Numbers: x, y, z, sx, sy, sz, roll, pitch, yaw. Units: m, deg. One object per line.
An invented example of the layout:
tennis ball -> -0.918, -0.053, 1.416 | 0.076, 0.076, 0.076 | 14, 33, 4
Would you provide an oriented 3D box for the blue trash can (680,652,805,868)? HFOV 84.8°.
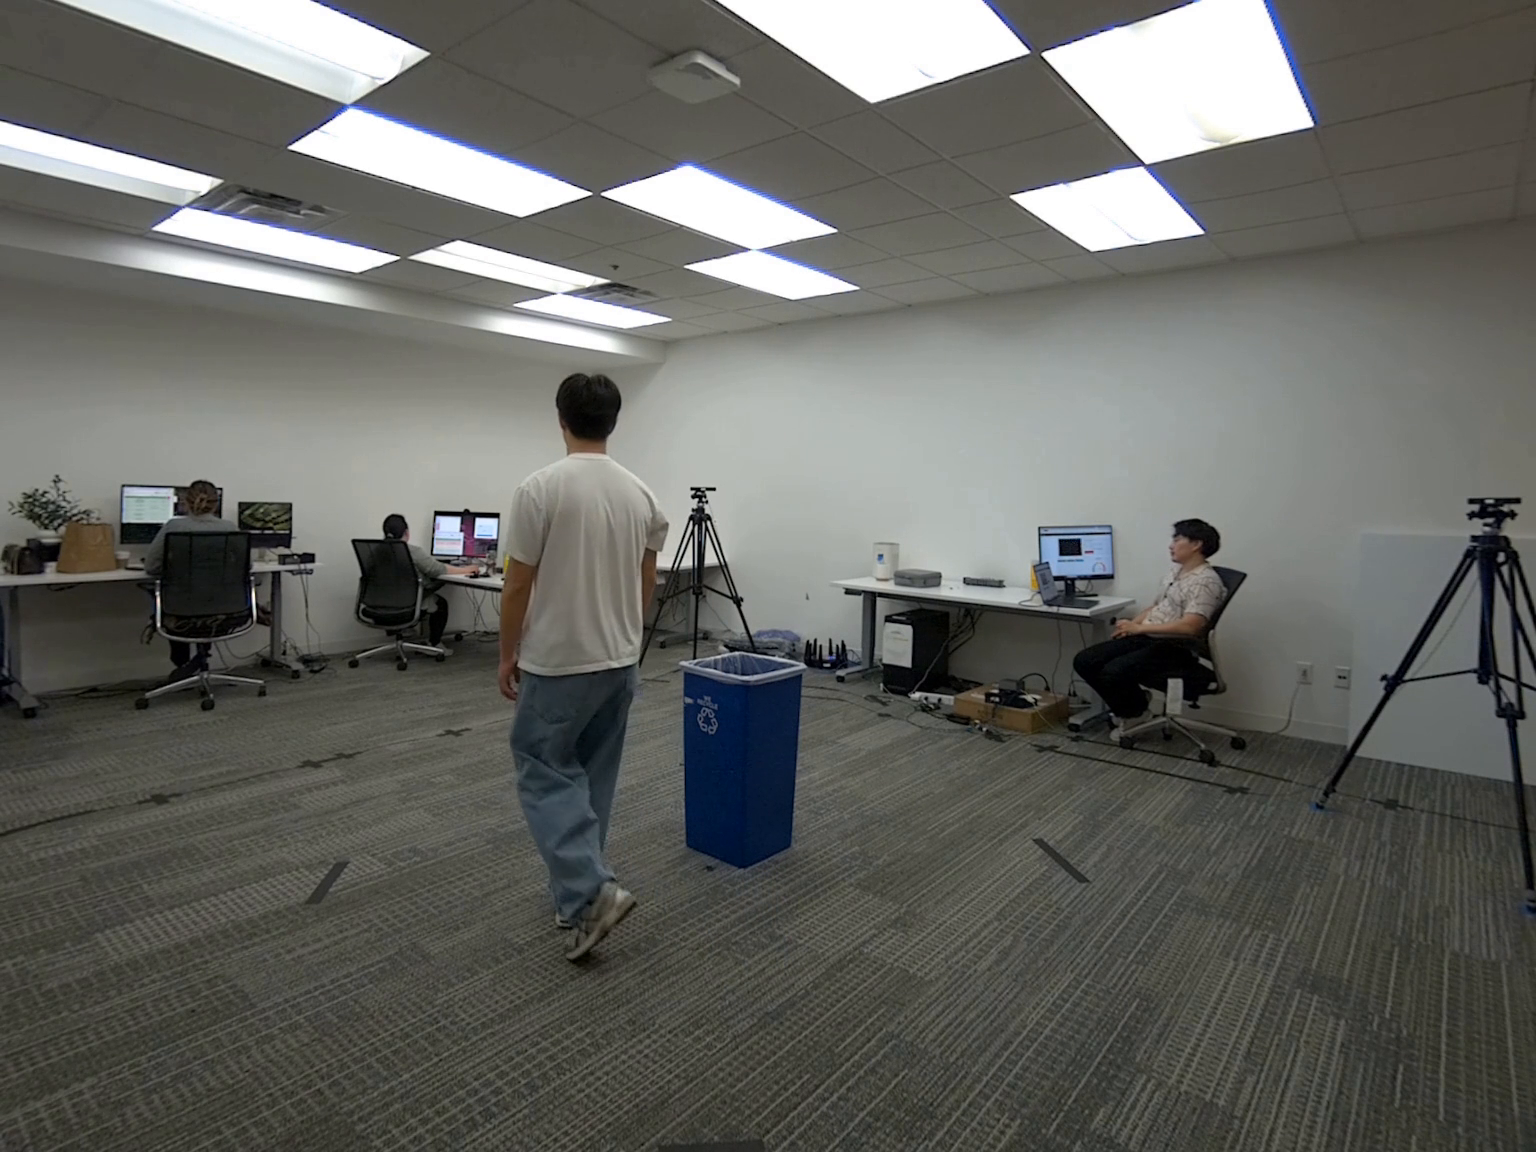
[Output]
blue trash can -> -0.108, 0.691, 3.293 | 0.386, 0.712, 0.367 | 4, 4, 40
